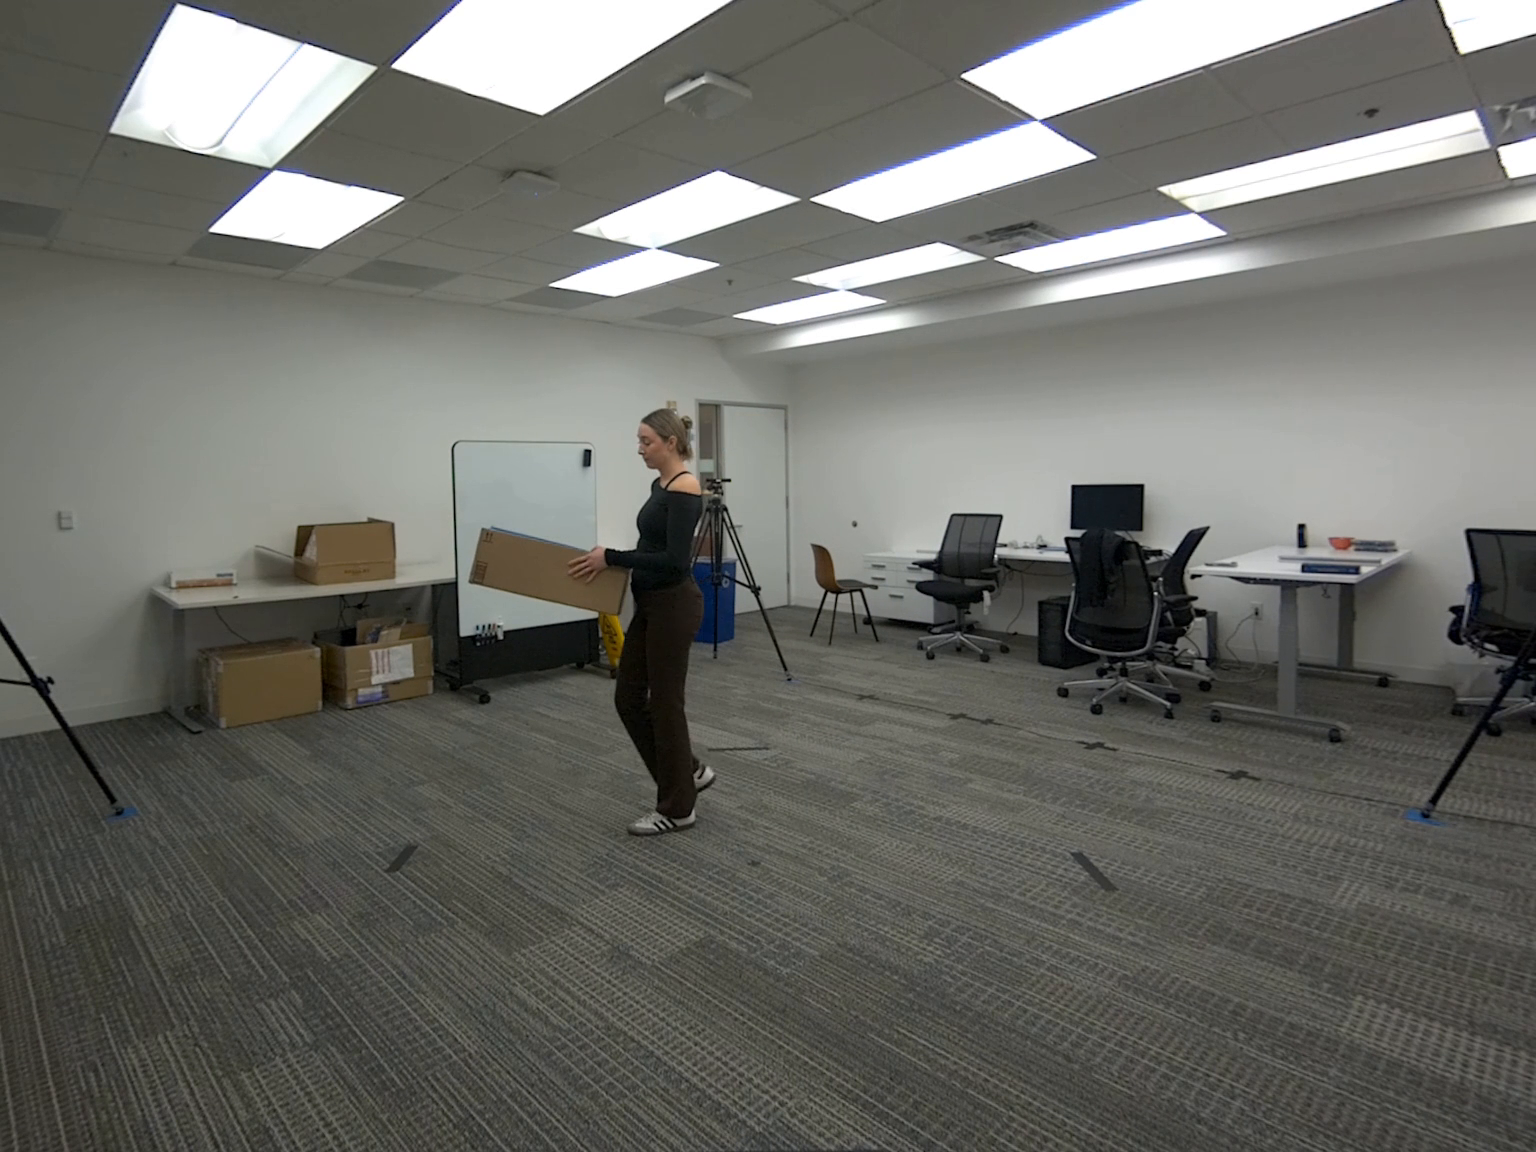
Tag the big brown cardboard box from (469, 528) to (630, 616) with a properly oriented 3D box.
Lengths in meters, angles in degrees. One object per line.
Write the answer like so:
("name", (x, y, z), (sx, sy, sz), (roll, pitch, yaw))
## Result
("big brown cardboard box", (-0.852, -0.012, 3.403), (0.584, 0.234, 0.420), (14, -3, -7))
